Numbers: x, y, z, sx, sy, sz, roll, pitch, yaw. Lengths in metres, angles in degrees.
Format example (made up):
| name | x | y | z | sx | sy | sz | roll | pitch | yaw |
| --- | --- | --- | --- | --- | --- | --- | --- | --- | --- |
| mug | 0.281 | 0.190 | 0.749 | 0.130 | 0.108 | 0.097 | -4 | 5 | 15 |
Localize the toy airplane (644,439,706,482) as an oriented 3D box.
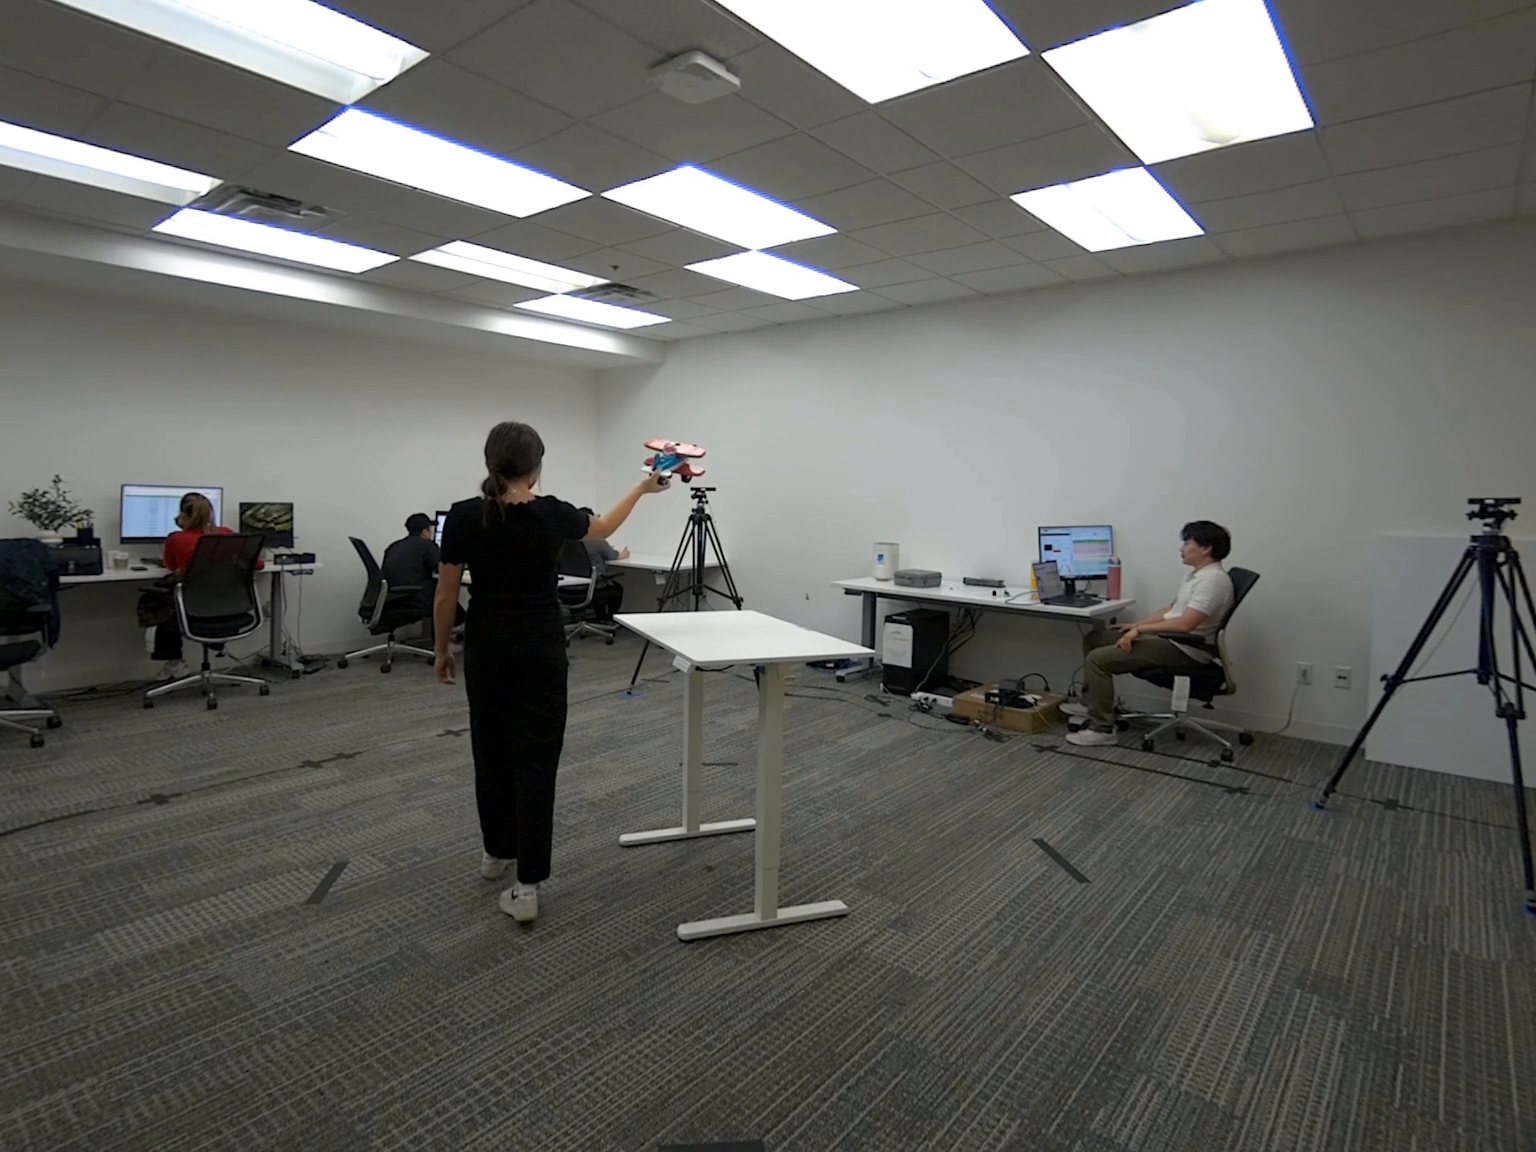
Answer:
| name | x | y | z | sx | sy | sz | roll | pitch | yaw |
| --- | --- | --- | --- | --- | --- | --- | --- | --- | --- |
| toy airplane | -0.376 | -0.437 | 3.320 | 0.249 | 0.154 | 0.265 | 6 | 15 | -9 |
